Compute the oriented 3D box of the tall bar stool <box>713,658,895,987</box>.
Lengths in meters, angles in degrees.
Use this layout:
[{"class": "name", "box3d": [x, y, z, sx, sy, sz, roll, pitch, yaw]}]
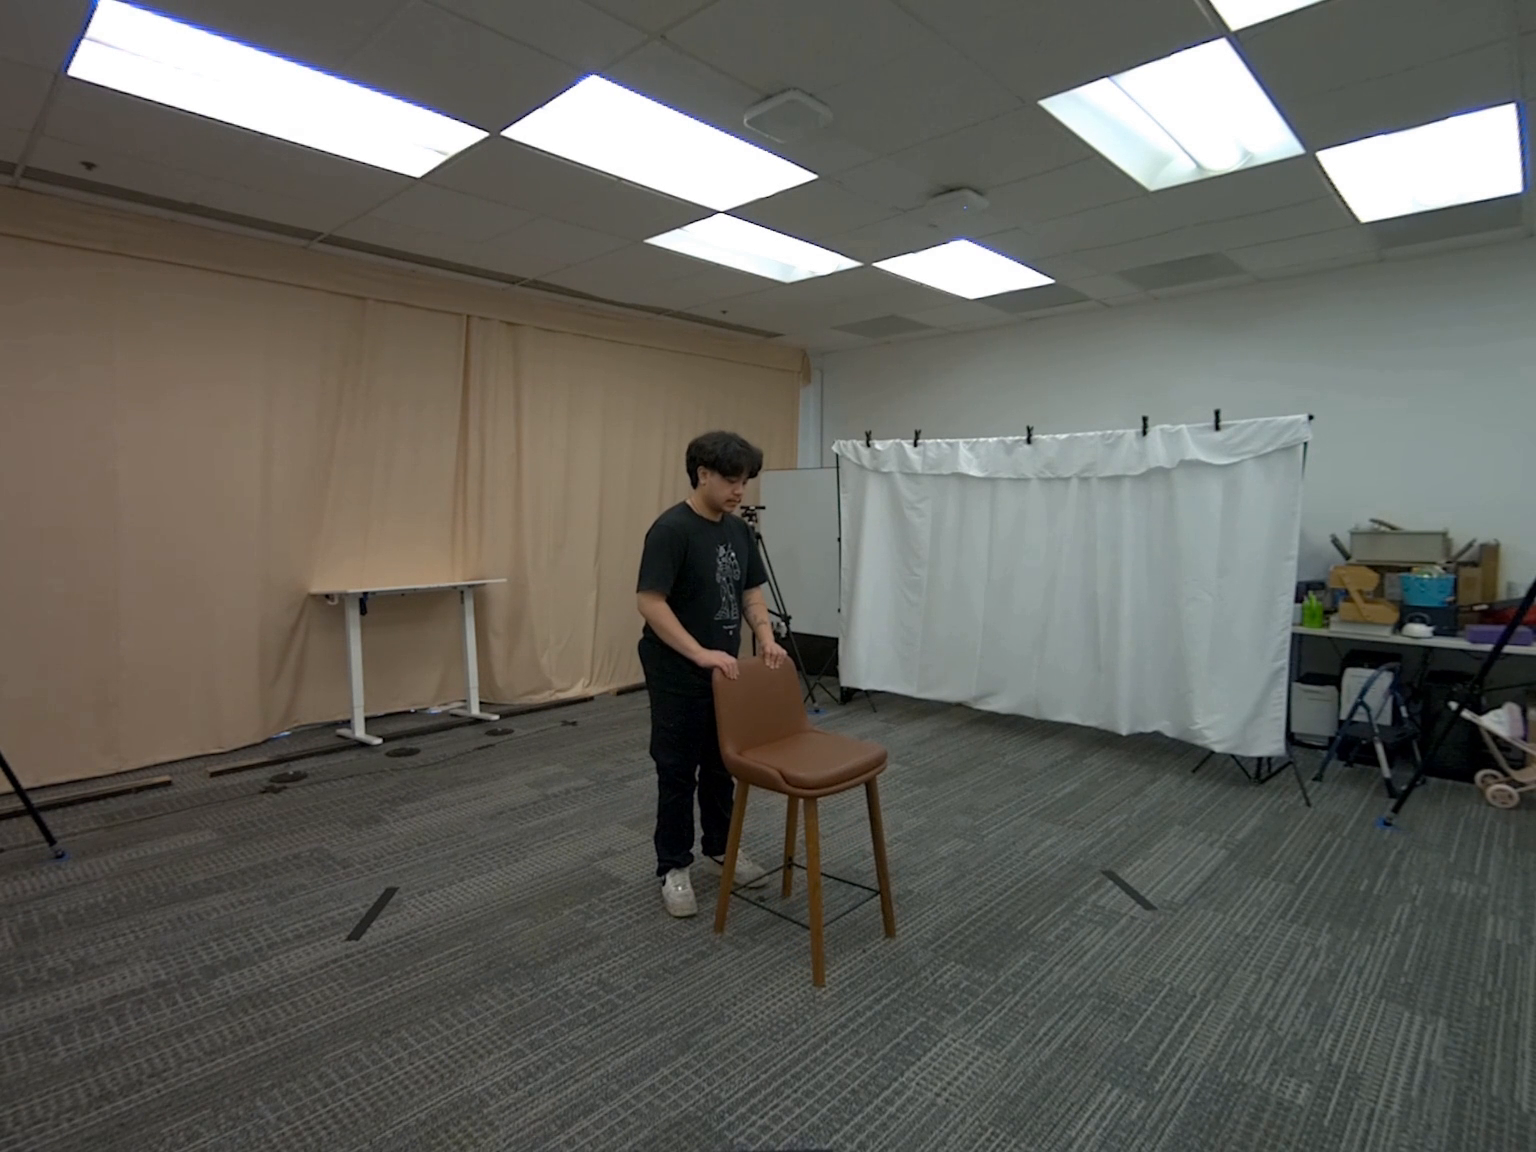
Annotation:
[{"class": "tall bar stool", "box3d": [0.110, 0.729, 2.716, 0.483, 0.889, 0.442, 0, 3, 43]}]
